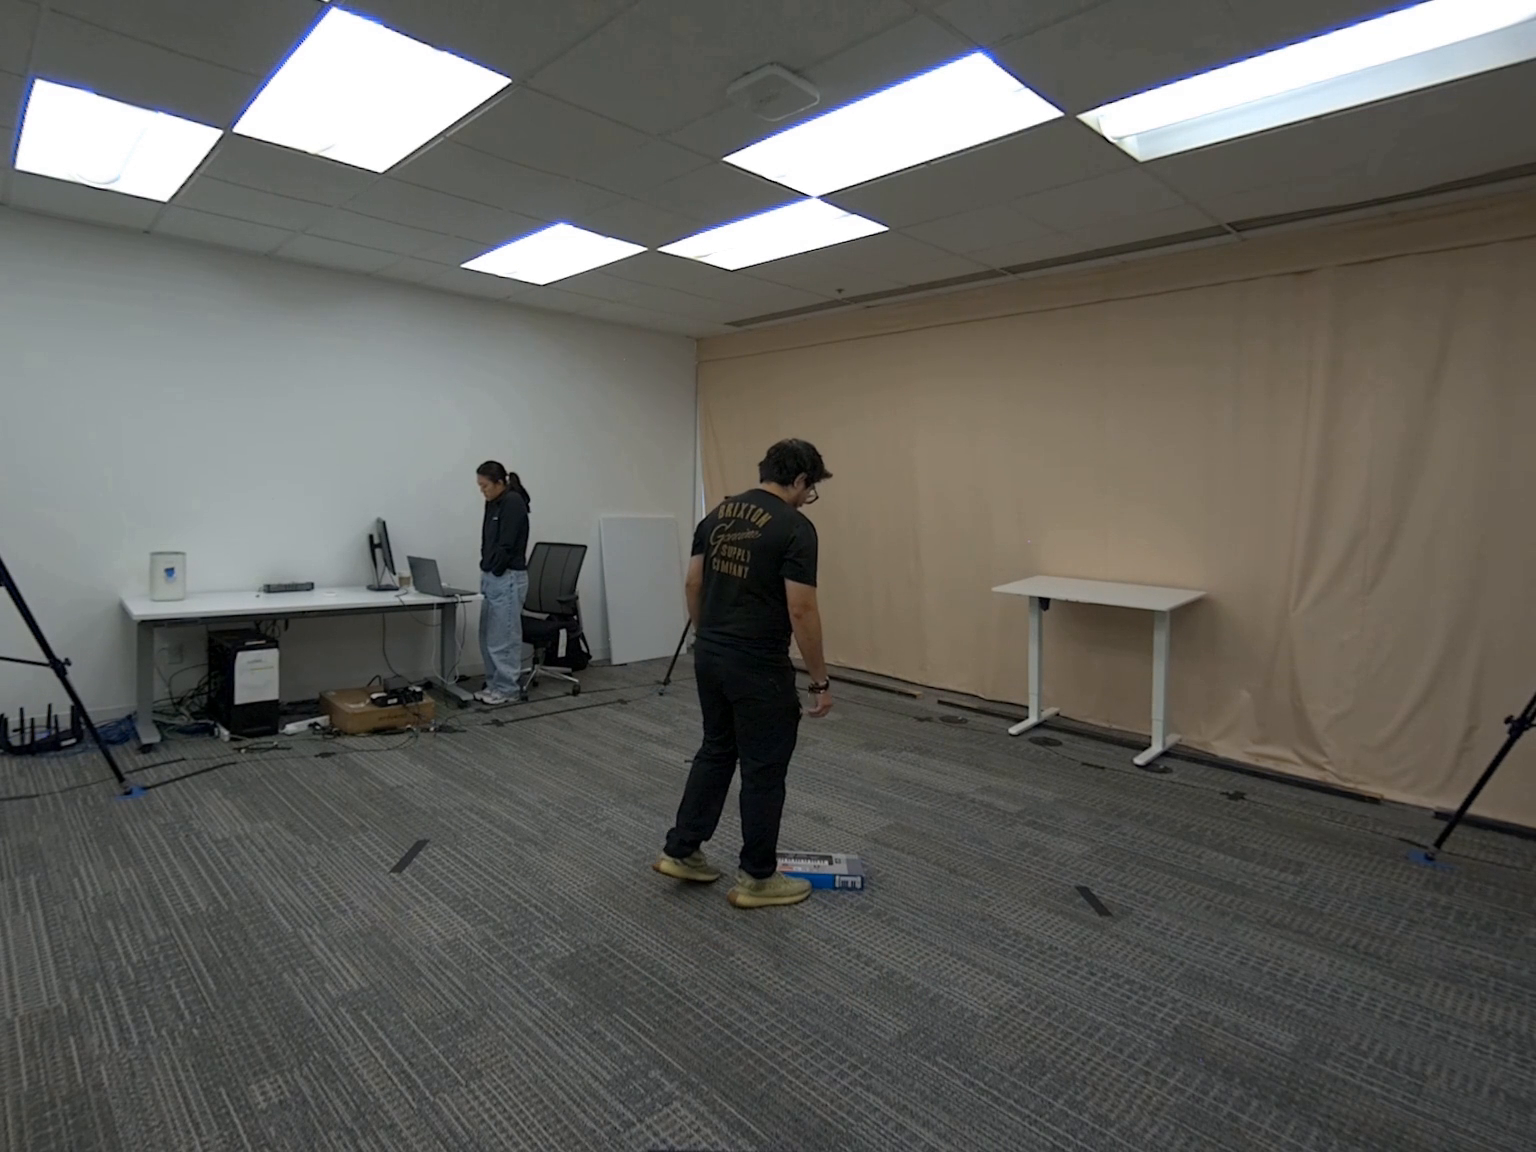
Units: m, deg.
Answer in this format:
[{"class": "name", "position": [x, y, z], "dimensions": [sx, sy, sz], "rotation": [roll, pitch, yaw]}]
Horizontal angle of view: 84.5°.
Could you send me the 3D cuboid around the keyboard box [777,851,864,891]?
[{"class": "keyboard box", "position": [0.116, 1.080, 3.097], "dimensions": [0.438, 0.059, 0.176], "rotation": [1, 6, 4]}]
